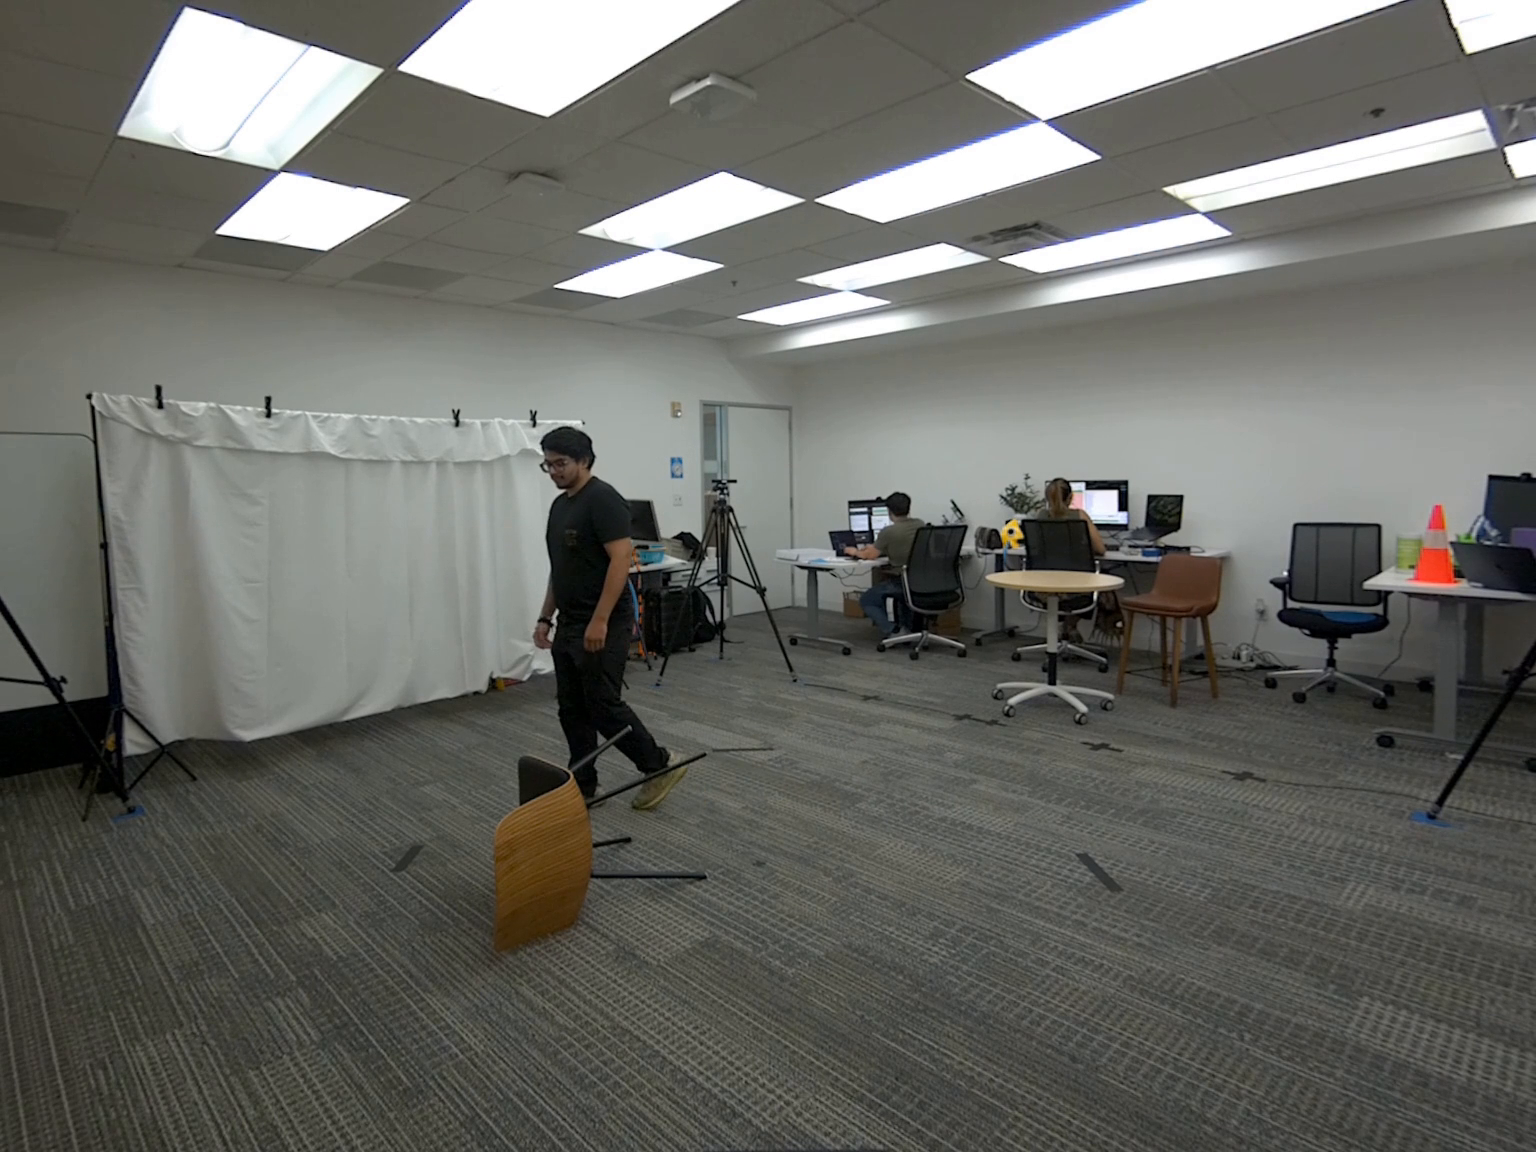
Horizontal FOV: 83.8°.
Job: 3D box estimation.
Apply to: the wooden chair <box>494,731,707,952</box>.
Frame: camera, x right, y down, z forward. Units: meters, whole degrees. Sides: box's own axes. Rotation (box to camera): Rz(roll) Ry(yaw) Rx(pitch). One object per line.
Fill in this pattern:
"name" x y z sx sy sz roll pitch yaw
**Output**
"wooden chair" -0.676 0.857 2.867 0.539 0.476 0.855 4 7 40
